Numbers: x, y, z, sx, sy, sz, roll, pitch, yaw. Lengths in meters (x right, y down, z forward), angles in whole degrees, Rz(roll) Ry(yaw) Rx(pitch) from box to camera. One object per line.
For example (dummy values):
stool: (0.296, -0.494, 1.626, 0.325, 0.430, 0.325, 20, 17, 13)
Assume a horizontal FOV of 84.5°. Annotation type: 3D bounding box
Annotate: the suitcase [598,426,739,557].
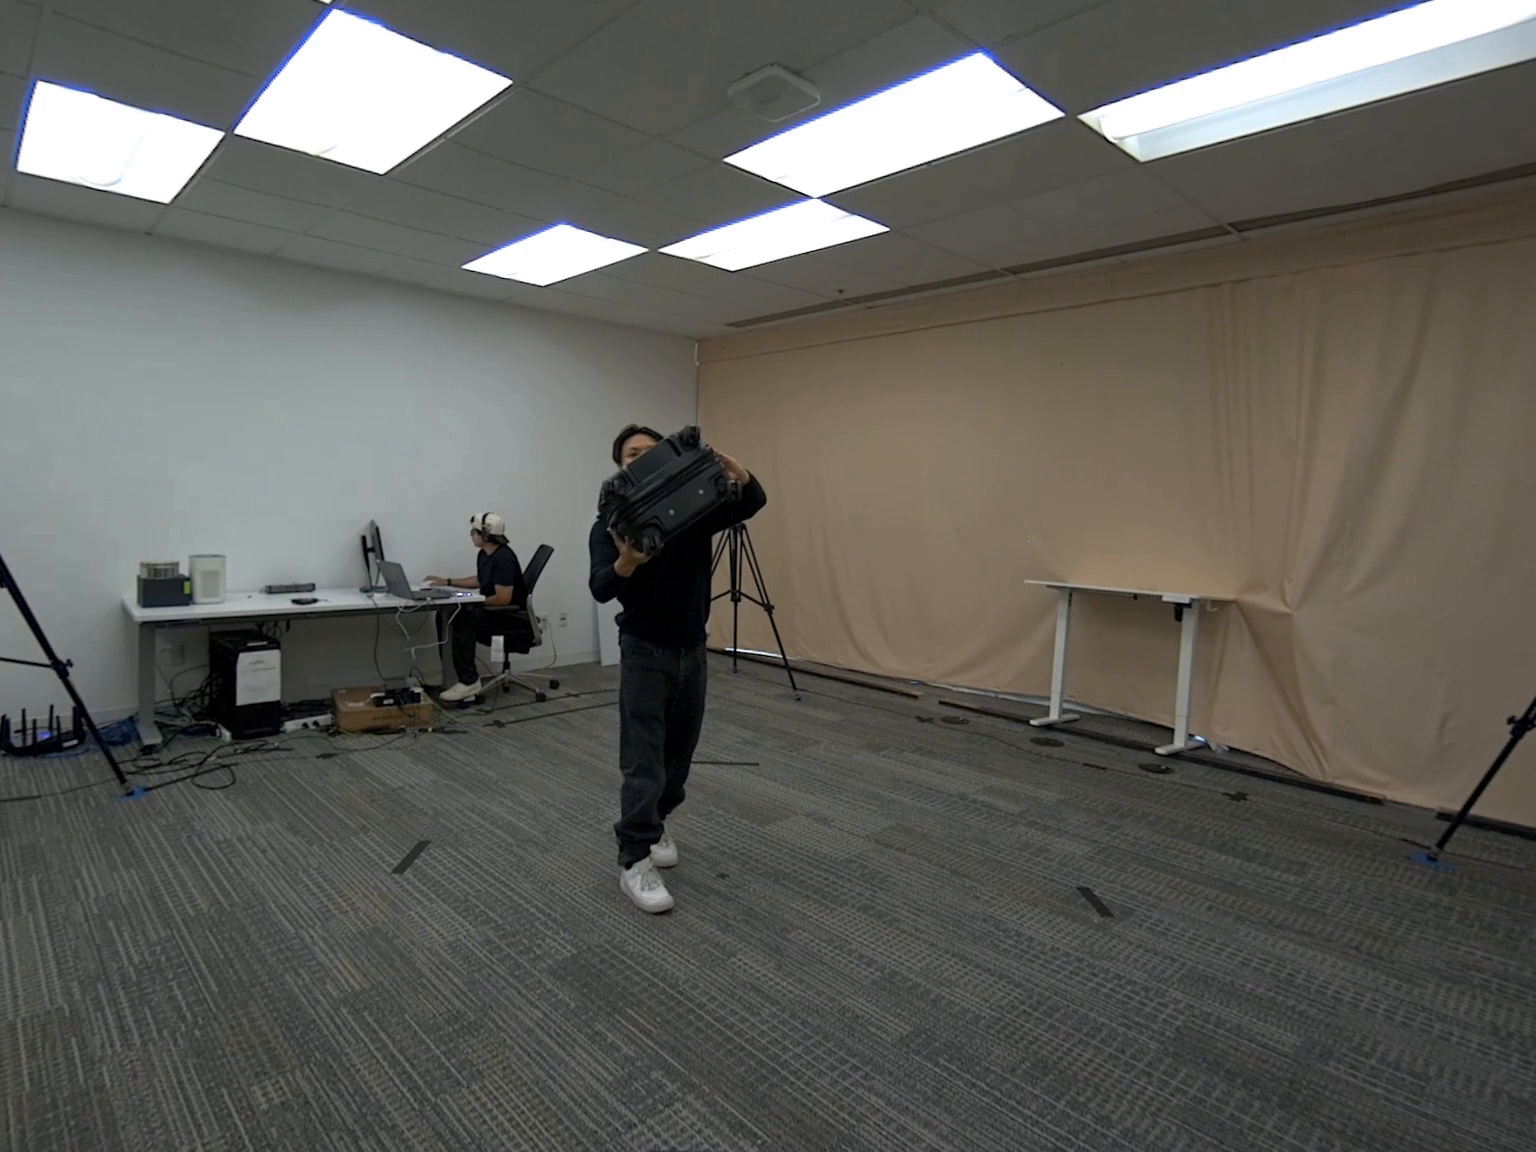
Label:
suitcase: (-0.344, -0.250, 2.660, 0.374, 0.247, 0.553, -38, 5, -12)
